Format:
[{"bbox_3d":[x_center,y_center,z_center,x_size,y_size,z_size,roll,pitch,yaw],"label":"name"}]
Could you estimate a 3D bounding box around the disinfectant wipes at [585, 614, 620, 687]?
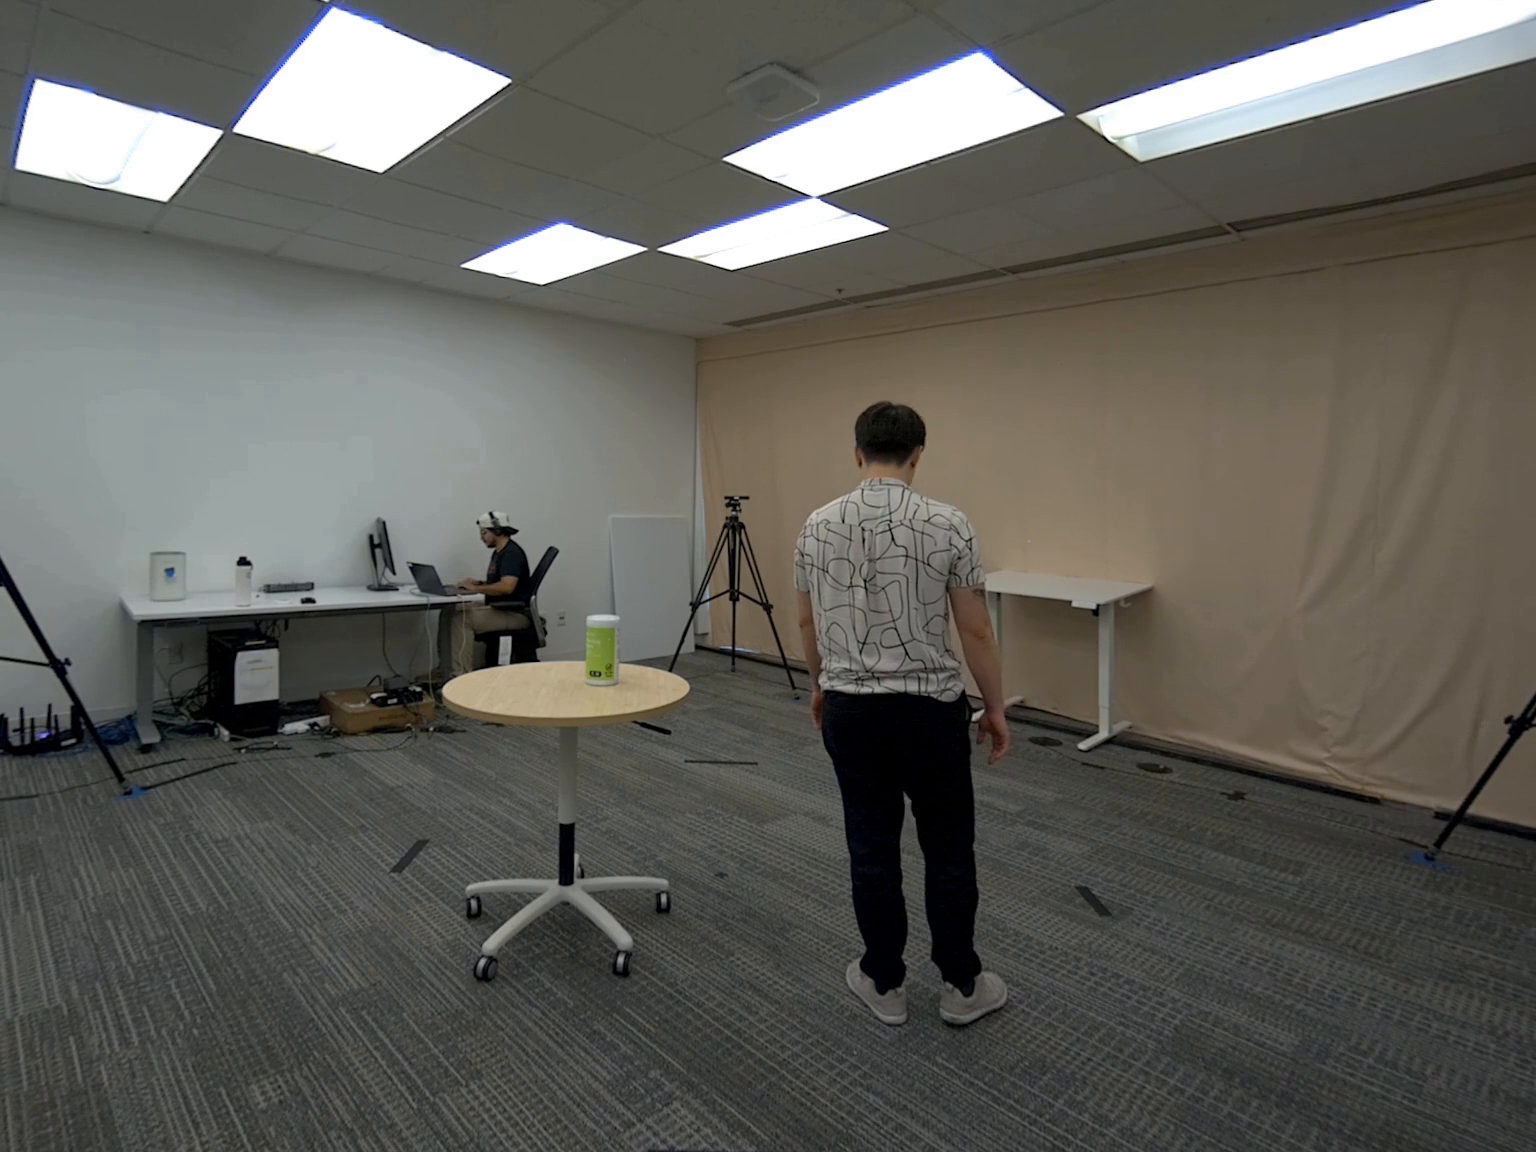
[{"bbox_3d":[-0.542,0.240,2.719,0.118,0.217,0.118,2,4,-2],"label":"disinfectant wipes"}]
